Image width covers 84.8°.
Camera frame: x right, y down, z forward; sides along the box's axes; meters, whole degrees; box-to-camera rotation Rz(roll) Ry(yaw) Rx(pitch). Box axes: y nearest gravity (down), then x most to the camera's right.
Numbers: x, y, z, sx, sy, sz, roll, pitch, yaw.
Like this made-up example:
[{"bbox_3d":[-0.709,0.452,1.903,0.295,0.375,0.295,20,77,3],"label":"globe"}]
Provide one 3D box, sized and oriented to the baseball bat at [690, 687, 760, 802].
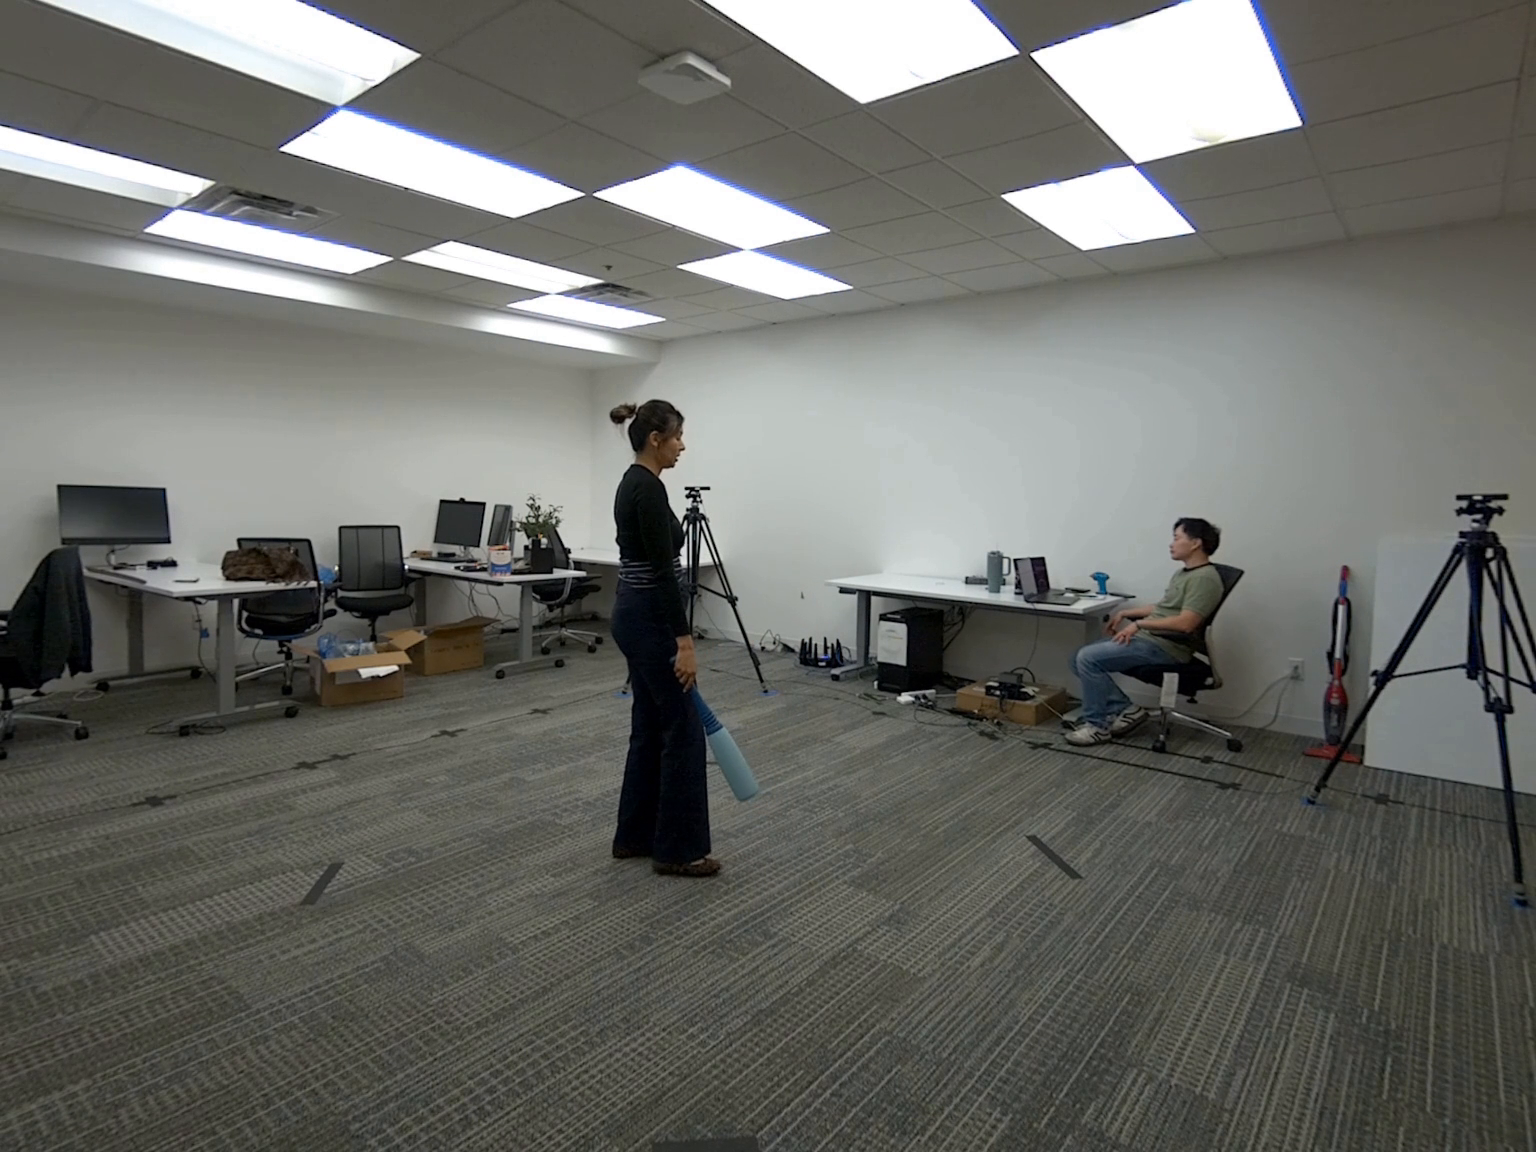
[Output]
[{"bbox_3d":[-0.196,0.520,2.920,0.089,0.548,0.088,-28,-6,-4],"label":"baseball bat"}]
